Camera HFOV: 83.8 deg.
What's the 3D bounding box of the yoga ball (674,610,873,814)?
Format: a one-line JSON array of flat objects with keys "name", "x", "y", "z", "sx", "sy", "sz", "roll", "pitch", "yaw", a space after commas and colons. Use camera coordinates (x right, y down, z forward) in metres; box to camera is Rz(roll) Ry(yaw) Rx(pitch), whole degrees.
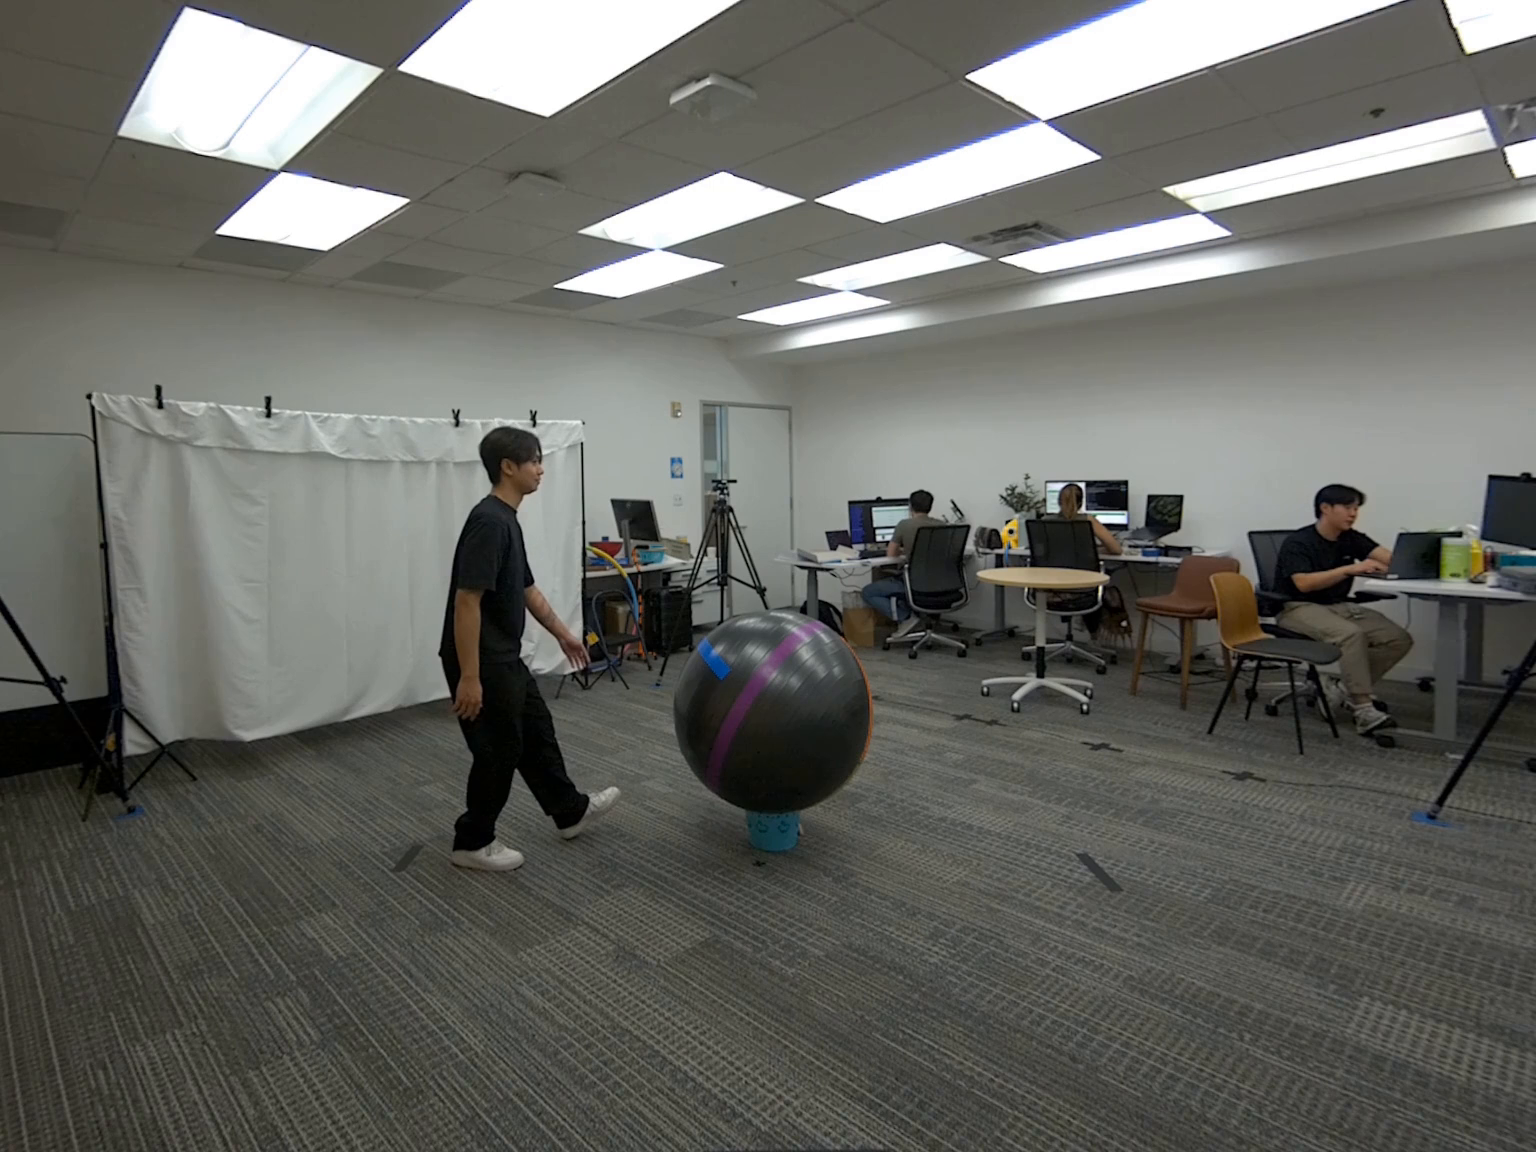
[{"name": "yoga ball", "x": 0.027, "y": 0.516, "z": 3.276, "sx": 0.757, "sy": 0.755, "sz": 0.762, "roll": -1, "pitch": 5, "yaw": -2}]
